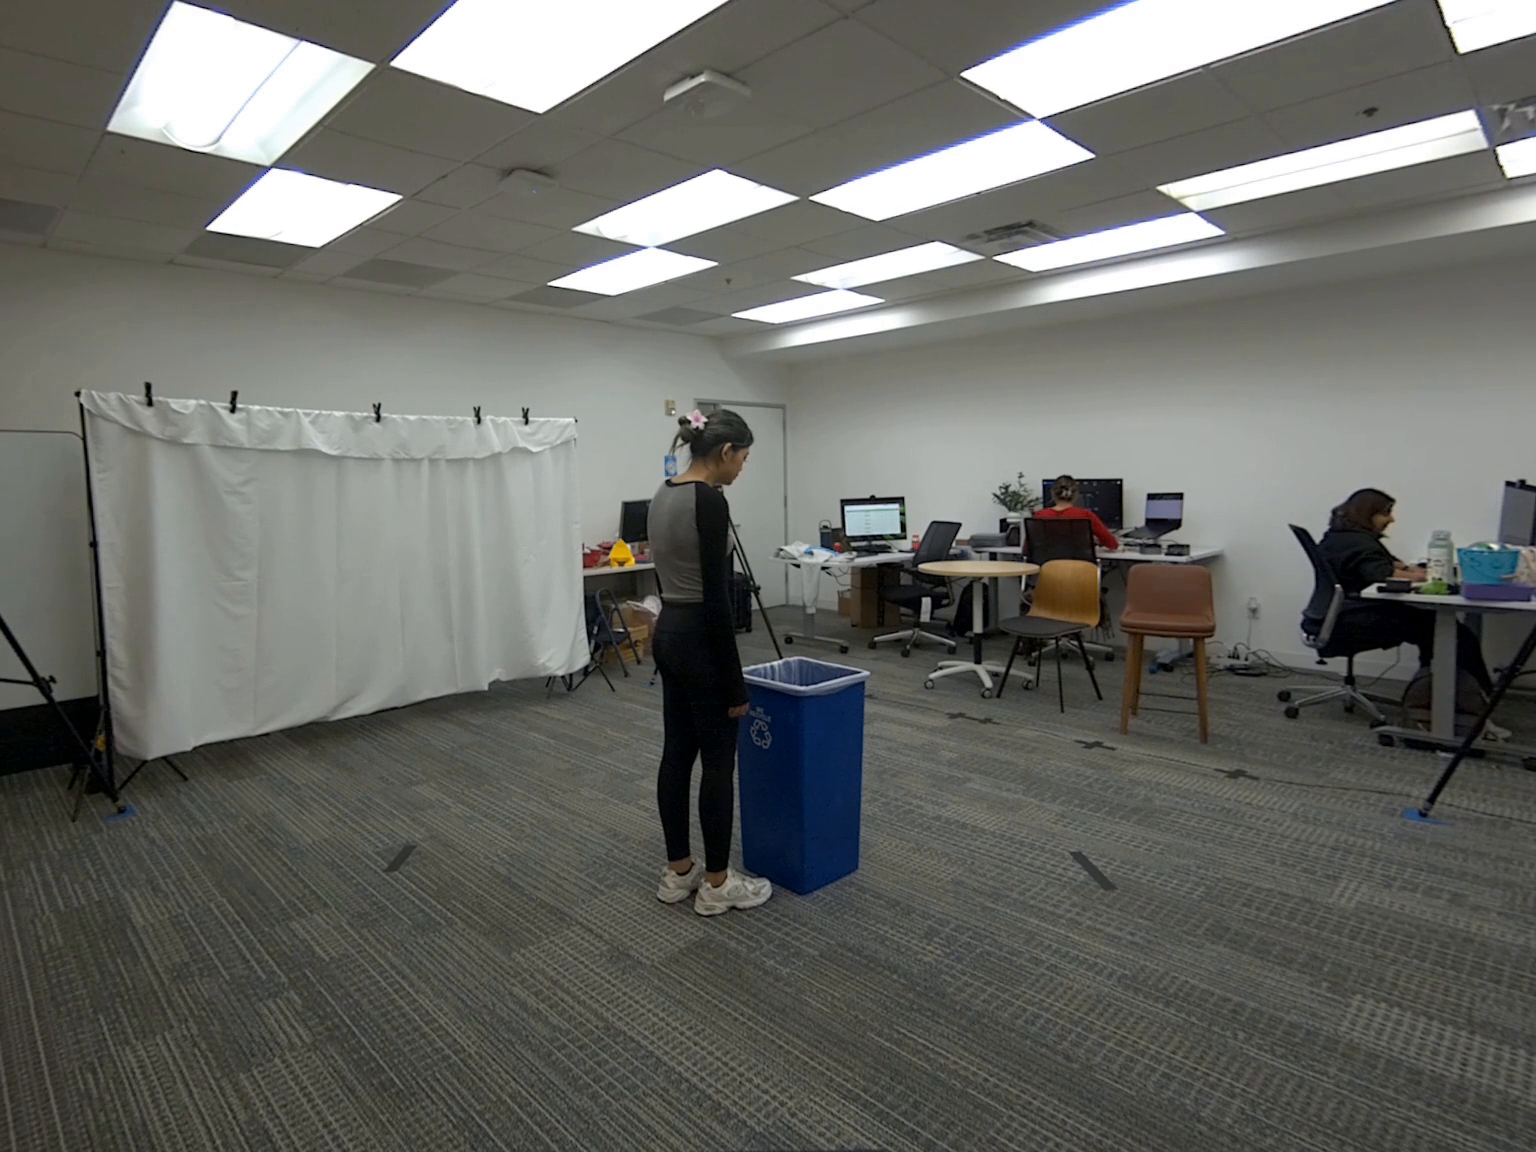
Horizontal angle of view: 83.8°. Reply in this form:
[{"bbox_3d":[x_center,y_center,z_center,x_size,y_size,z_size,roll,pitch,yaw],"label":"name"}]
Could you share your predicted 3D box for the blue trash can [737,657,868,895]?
[{"bbox_3d":[0.125,0.691,3.032,0.368,0.711,0.385,-5,6,-43],"label":"blue trash can"}]
